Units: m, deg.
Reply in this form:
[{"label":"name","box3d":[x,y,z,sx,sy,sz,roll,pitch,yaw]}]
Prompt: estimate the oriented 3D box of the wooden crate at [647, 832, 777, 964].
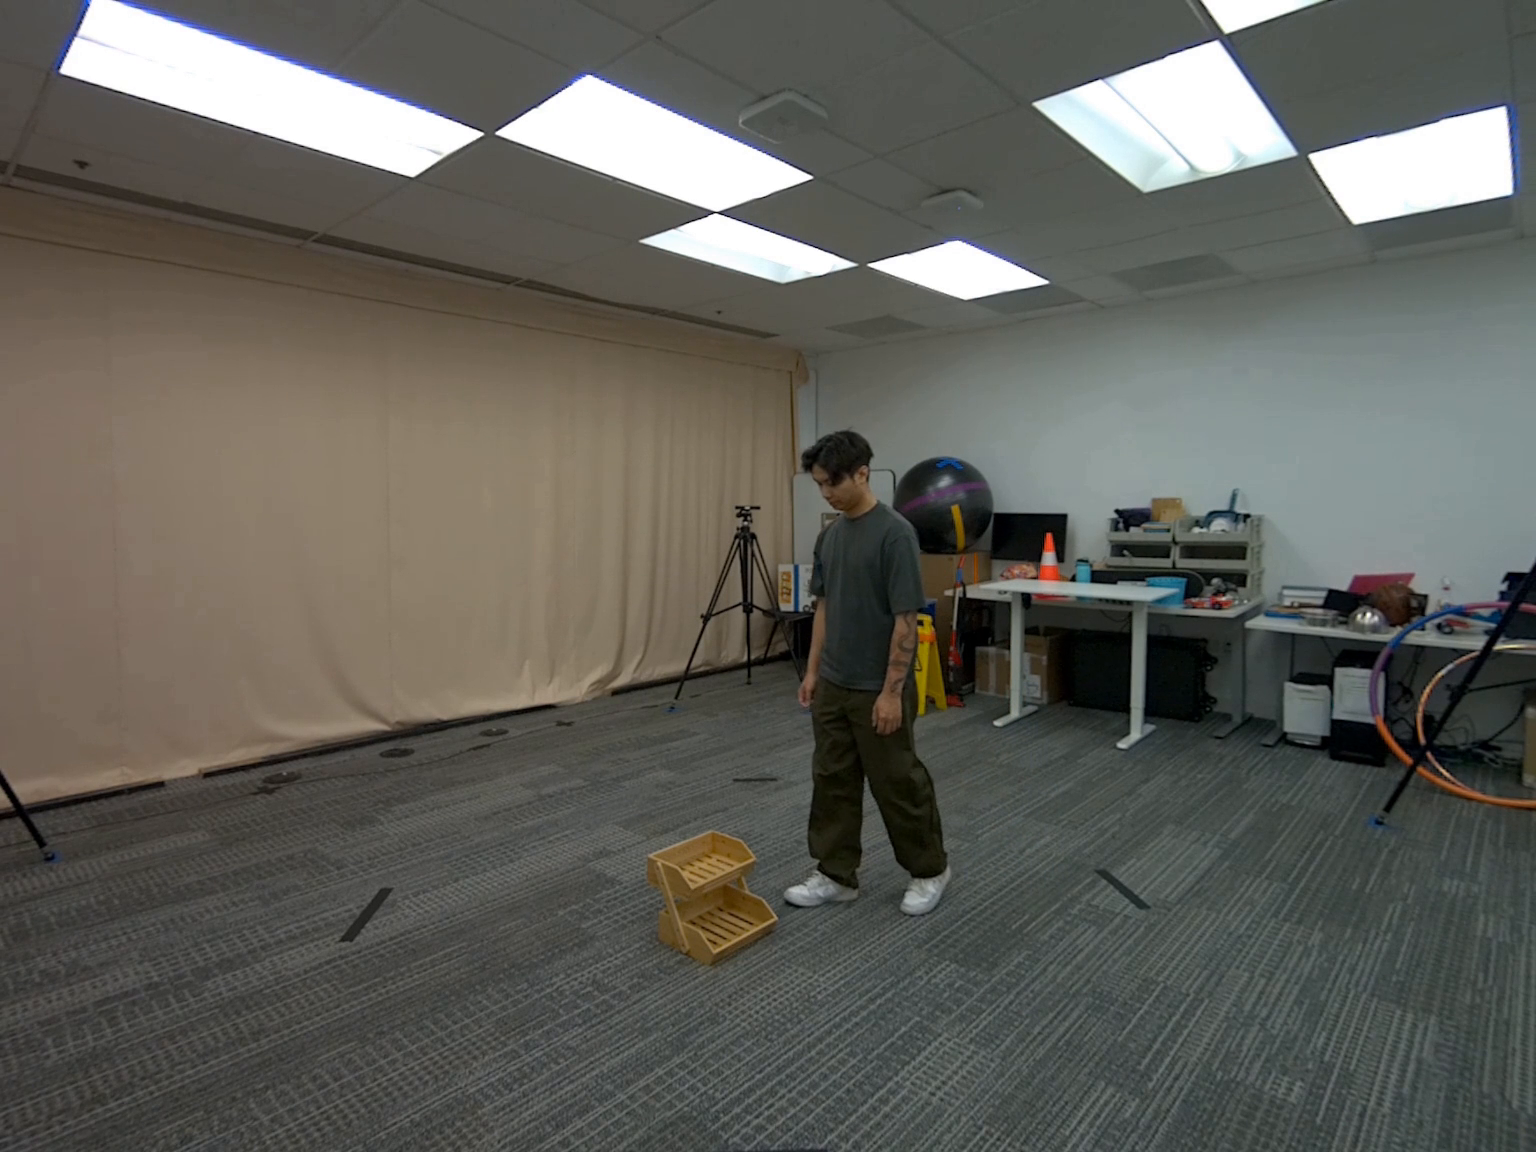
[{"label":"wooden crate","box3d":[-0.173,1.032,2.734,0.312,0.273,0.314,3,5,43]}]
